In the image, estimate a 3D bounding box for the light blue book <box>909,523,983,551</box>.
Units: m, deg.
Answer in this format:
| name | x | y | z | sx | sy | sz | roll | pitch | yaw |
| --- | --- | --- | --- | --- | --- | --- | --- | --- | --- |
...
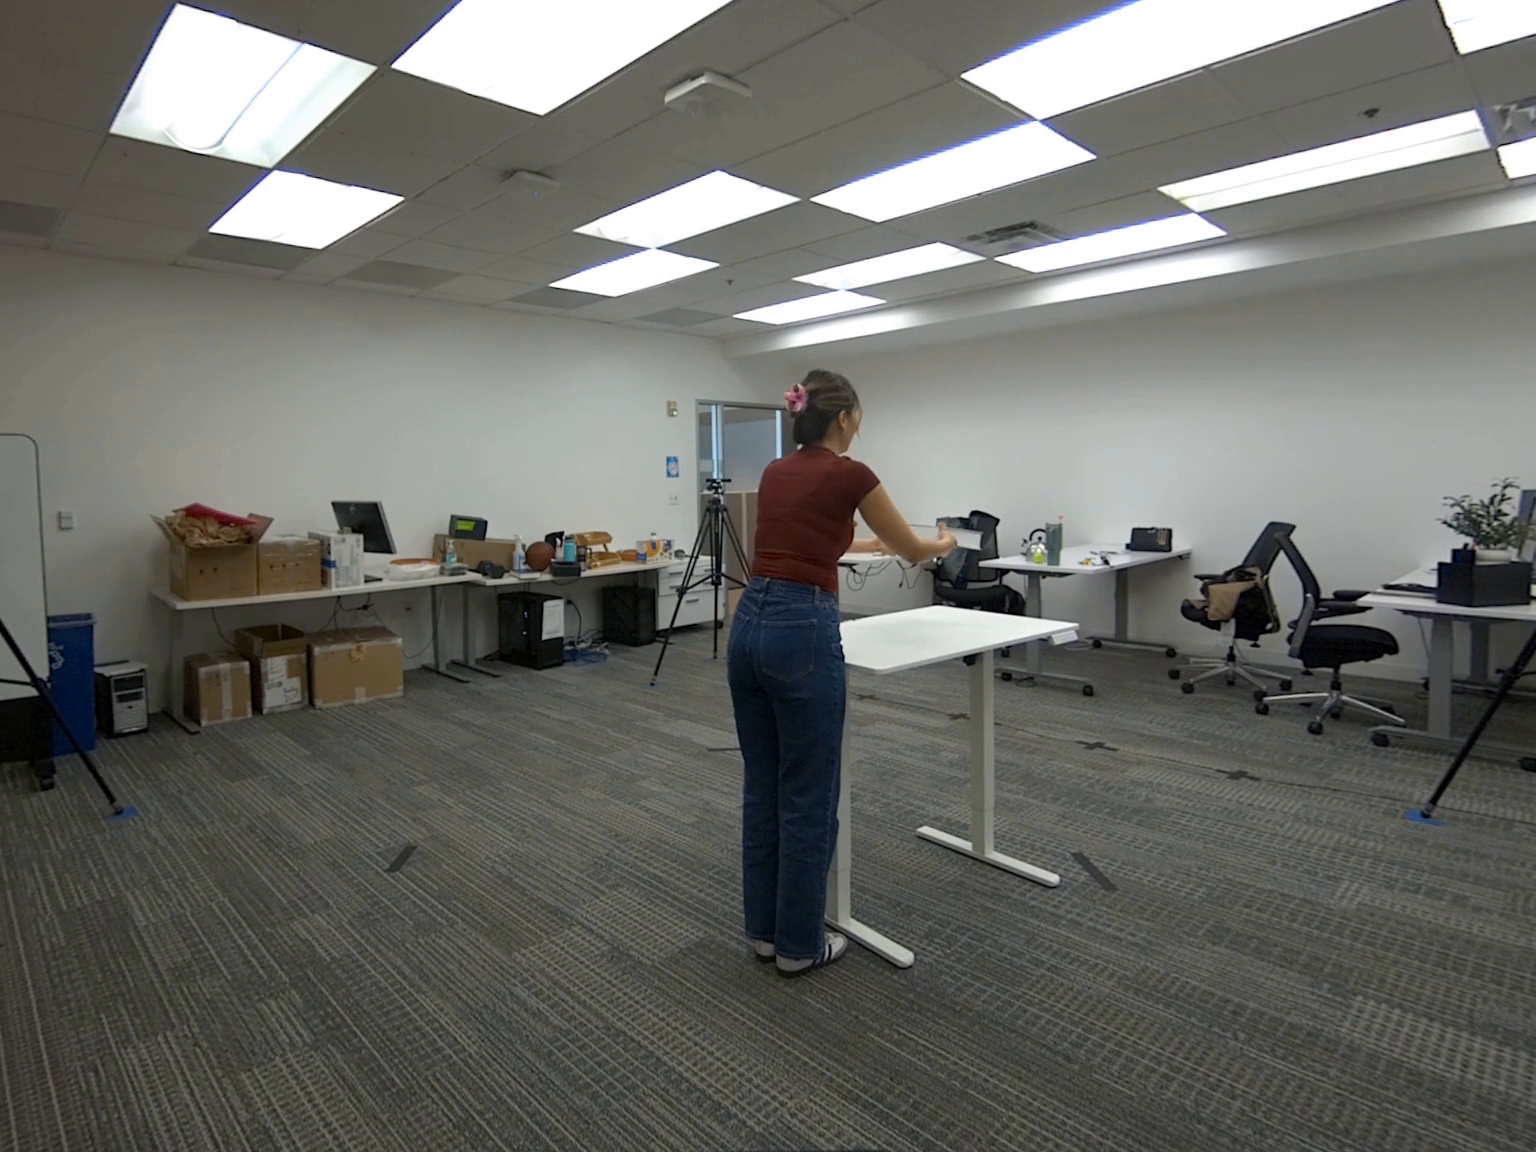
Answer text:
| name | x | y | z | sx | sy | sz | roll | pitch | yaw |
| --- | --- | --- | --- | --- | --- | --- | --- | --- | --- |
| light blue book | 0.573 | -0.136 | 2.926 | 0.253 | 0.059 | 0.197 | 5 | 2 | -41 |
